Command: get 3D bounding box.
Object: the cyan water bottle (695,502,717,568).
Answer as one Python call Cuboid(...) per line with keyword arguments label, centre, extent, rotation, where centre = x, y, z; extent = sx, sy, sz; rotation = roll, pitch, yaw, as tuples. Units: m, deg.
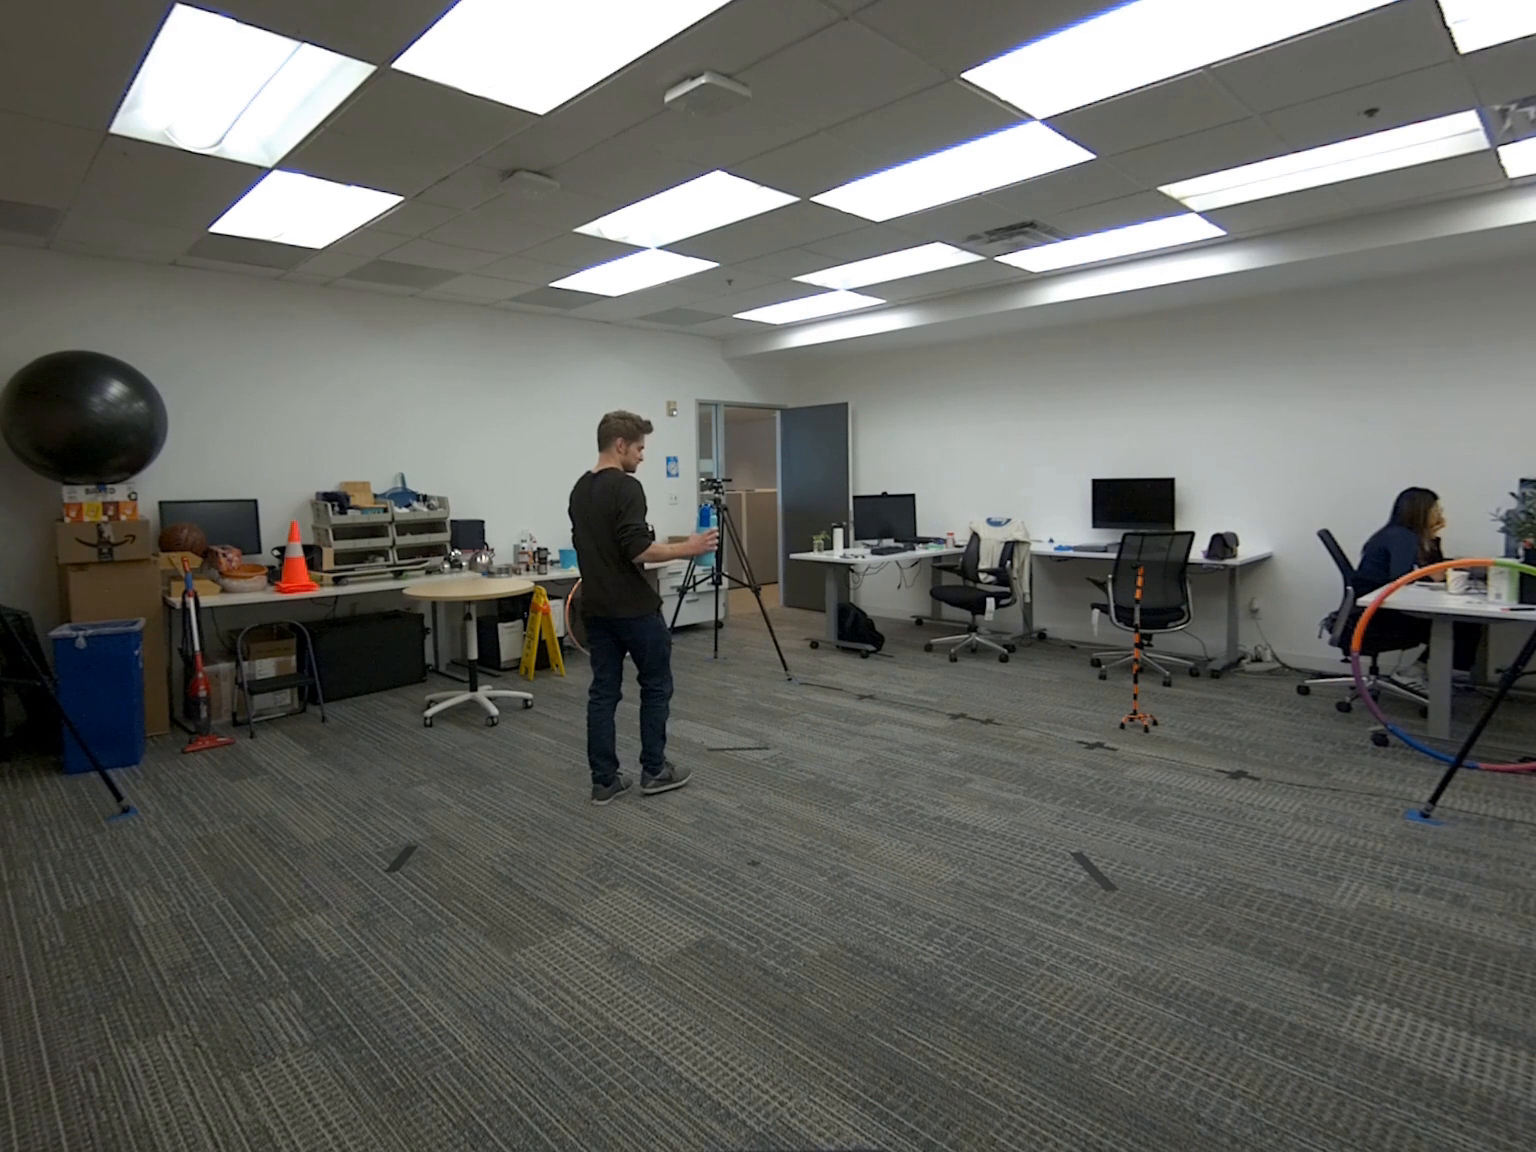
Cuboid(label="cyan water bottle", centre=(-0.275, -0.188, 3.755), extent=(0.092, 0.281, 0.093), rotation=(5, 10, -3))
